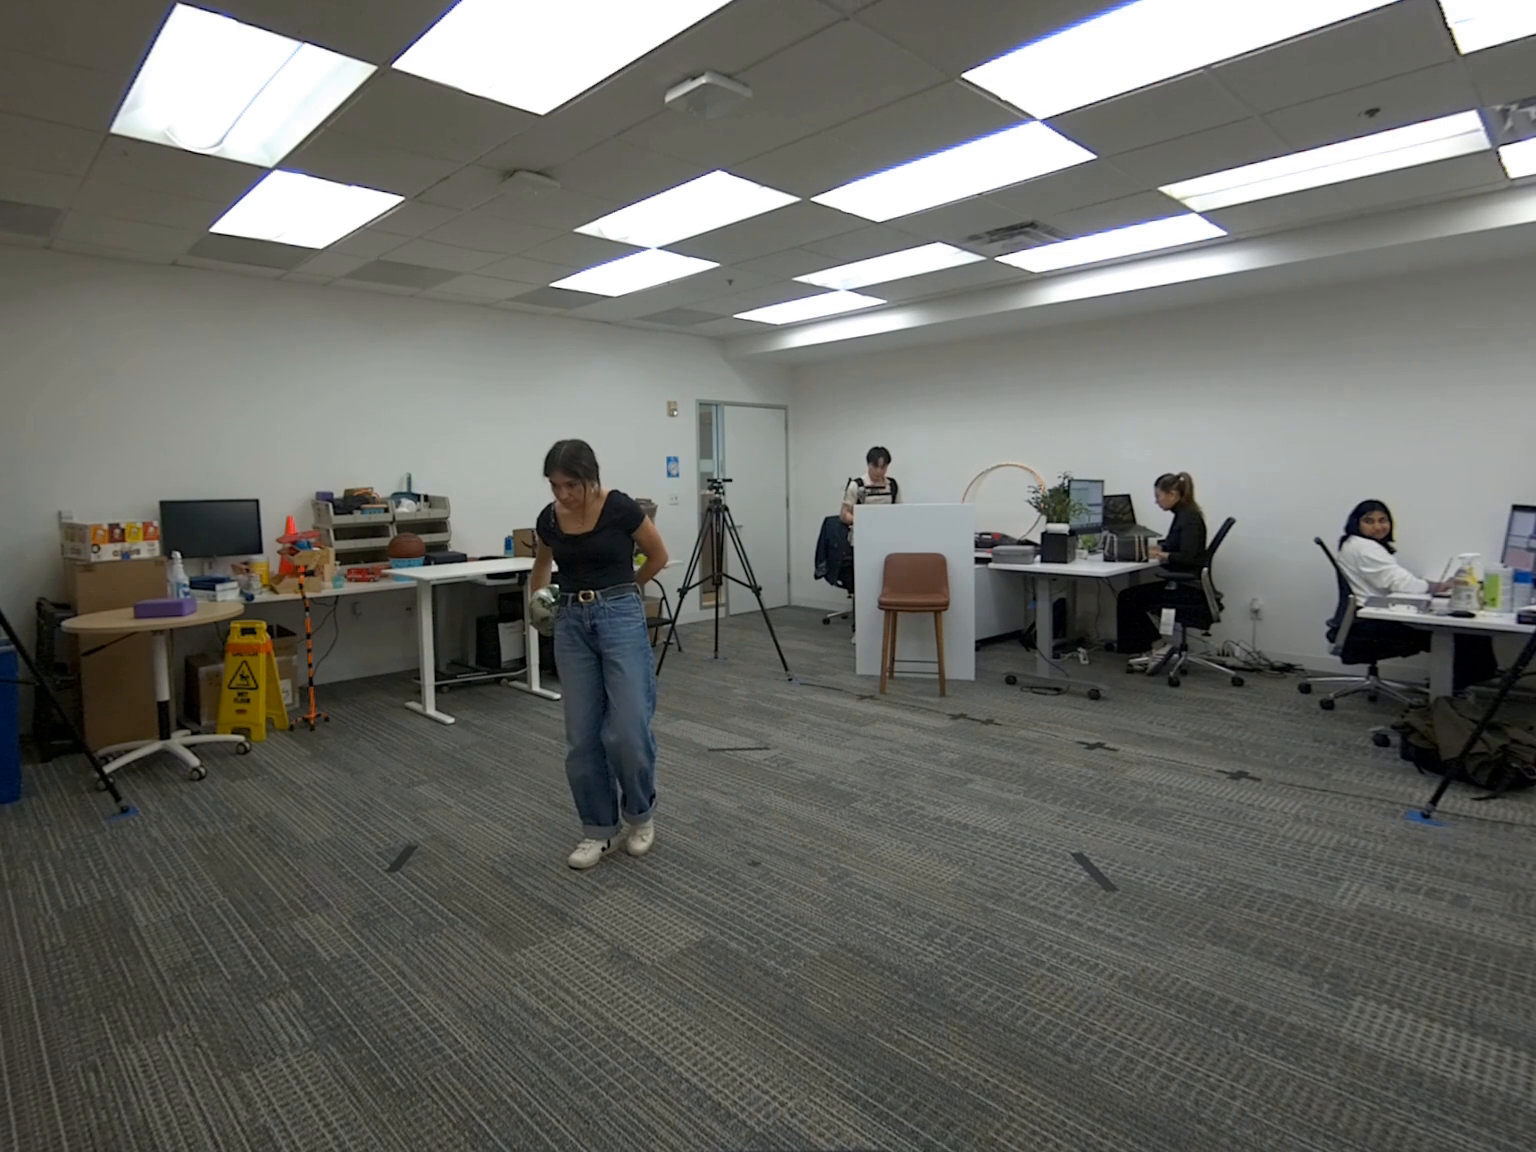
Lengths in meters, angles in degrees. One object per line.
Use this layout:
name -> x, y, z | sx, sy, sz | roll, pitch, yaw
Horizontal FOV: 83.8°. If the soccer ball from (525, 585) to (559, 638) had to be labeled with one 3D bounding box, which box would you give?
soccer ball -> -0.832, 0.130, 3.315 | 0.187, 0.187, 0.188 | -1, 5, -2
